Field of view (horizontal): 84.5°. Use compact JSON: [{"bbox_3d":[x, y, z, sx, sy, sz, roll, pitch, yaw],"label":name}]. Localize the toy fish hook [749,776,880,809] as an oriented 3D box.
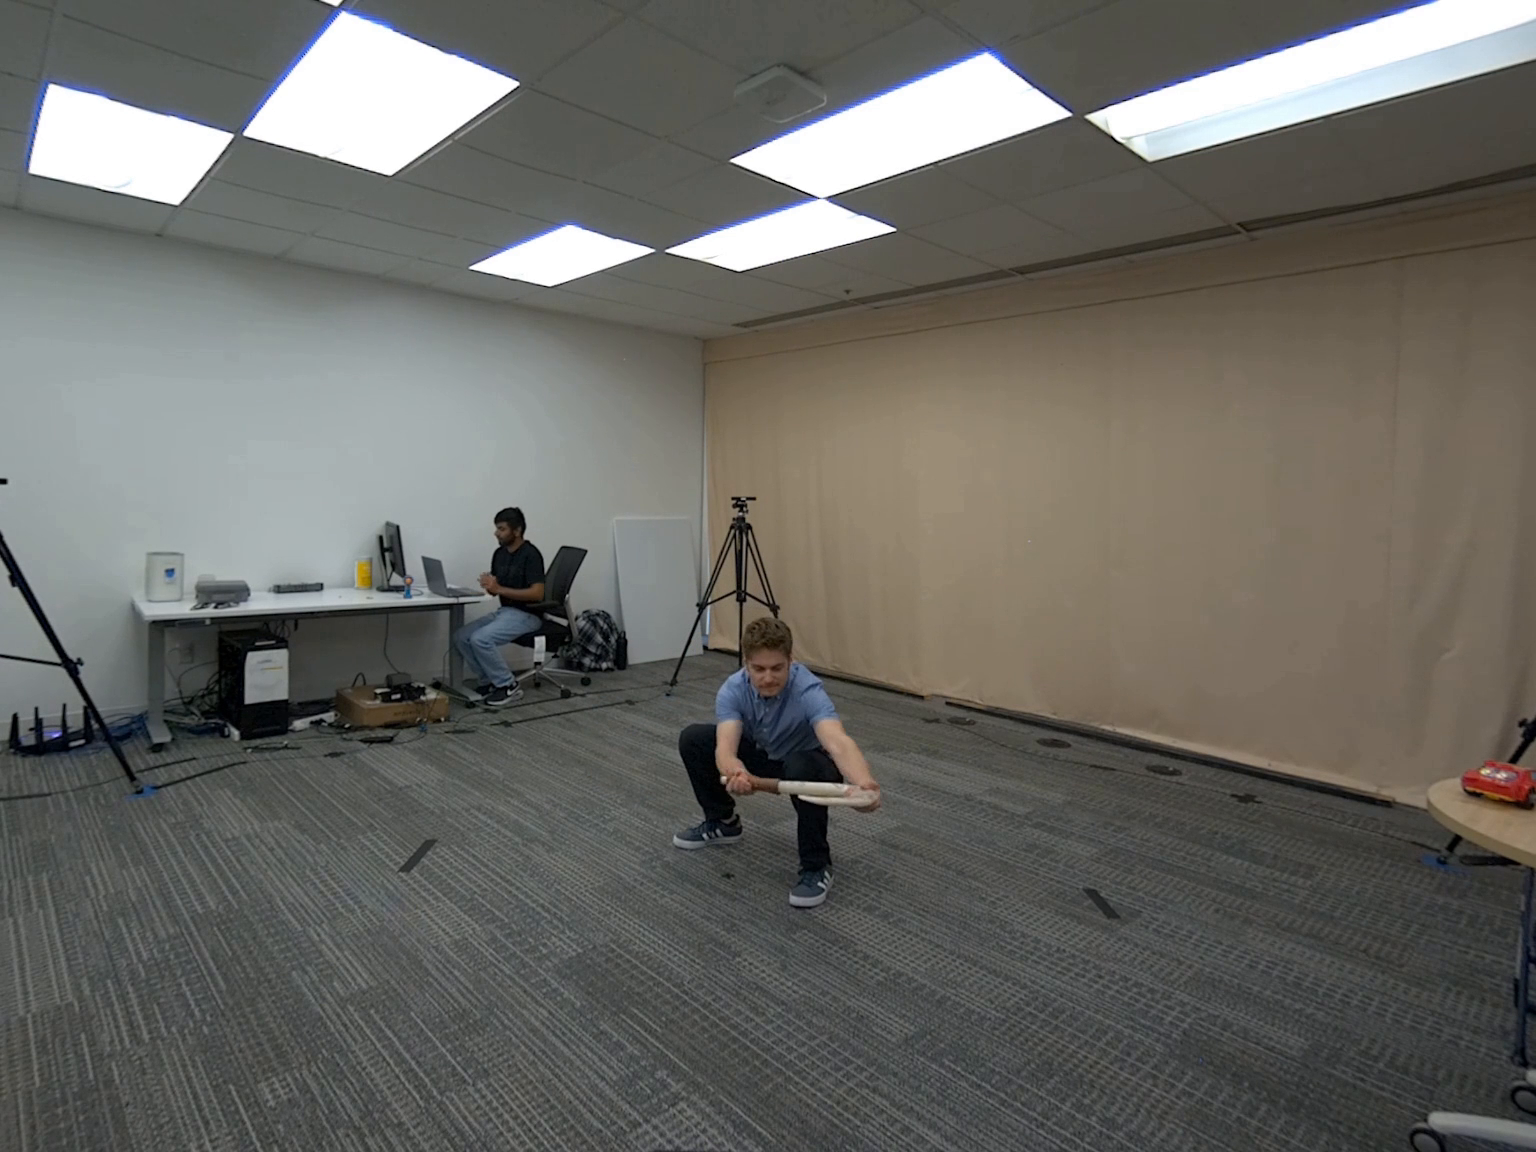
[{"bbox_3d":[0.064,0.636,2.469,0.515,0.048,0.220,-2,-8,22],"label":"toy fish hook"}]
